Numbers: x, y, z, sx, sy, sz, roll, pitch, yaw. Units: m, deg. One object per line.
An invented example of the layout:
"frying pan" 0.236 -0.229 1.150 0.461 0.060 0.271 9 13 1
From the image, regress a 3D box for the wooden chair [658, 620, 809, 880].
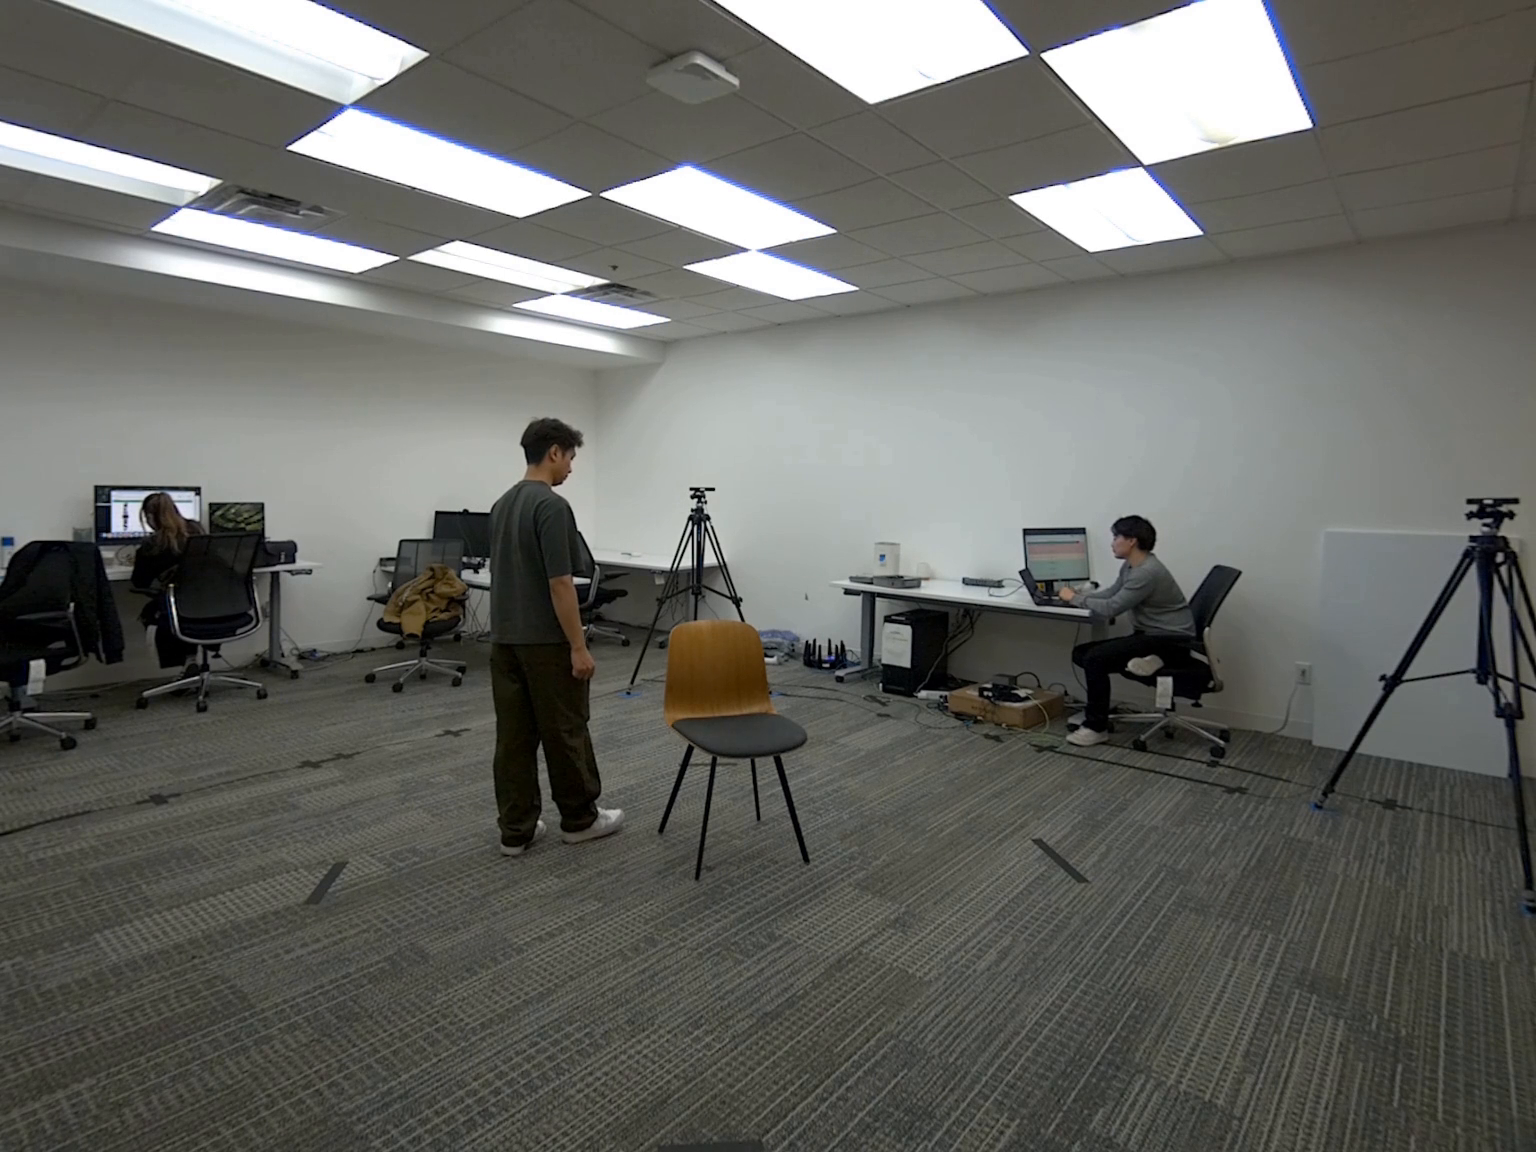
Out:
"wooden chair" -0.141 0.628 3.264 0.467 0.878 0.534 0 -1 -23
